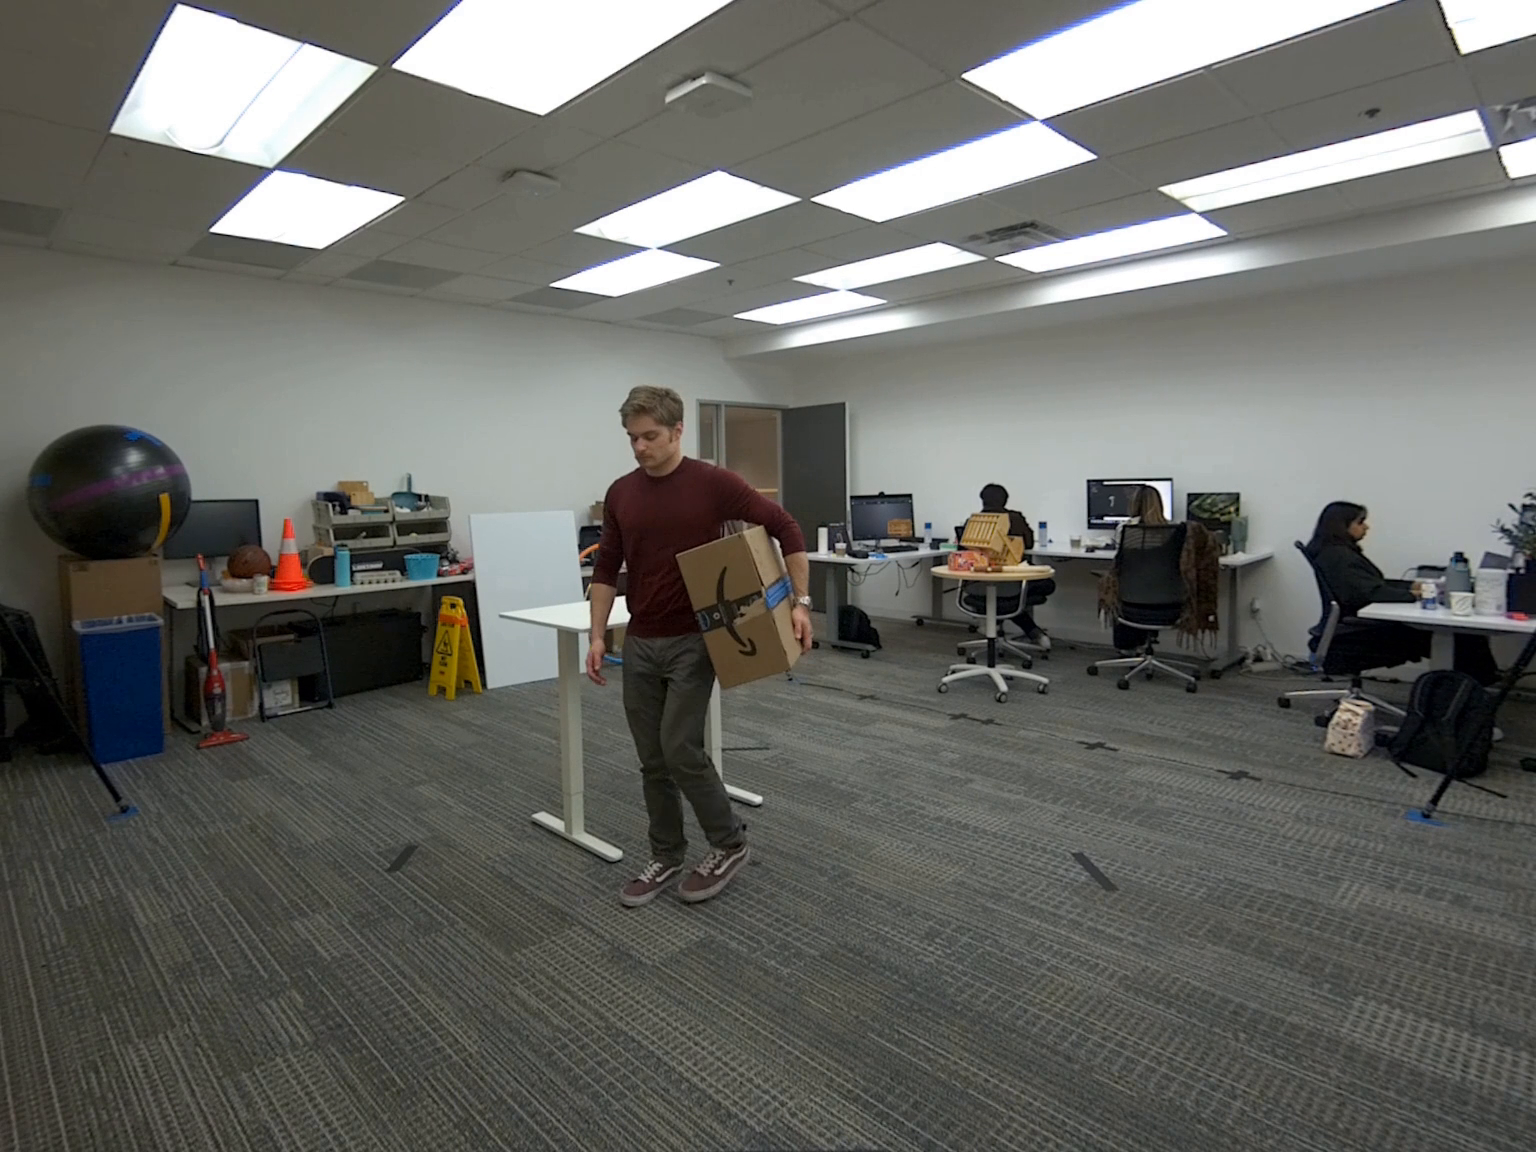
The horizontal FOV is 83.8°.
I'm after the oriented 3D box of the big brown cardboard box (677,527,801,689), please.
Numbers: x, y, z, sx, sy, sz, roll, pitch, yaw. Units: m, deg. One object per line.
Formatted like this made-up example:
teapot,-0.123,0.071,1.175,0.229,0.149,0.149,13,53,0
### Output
big brown cardboard box,-0.055,0.075,2.710,0.235,0.417,0.584,-19,2,14
